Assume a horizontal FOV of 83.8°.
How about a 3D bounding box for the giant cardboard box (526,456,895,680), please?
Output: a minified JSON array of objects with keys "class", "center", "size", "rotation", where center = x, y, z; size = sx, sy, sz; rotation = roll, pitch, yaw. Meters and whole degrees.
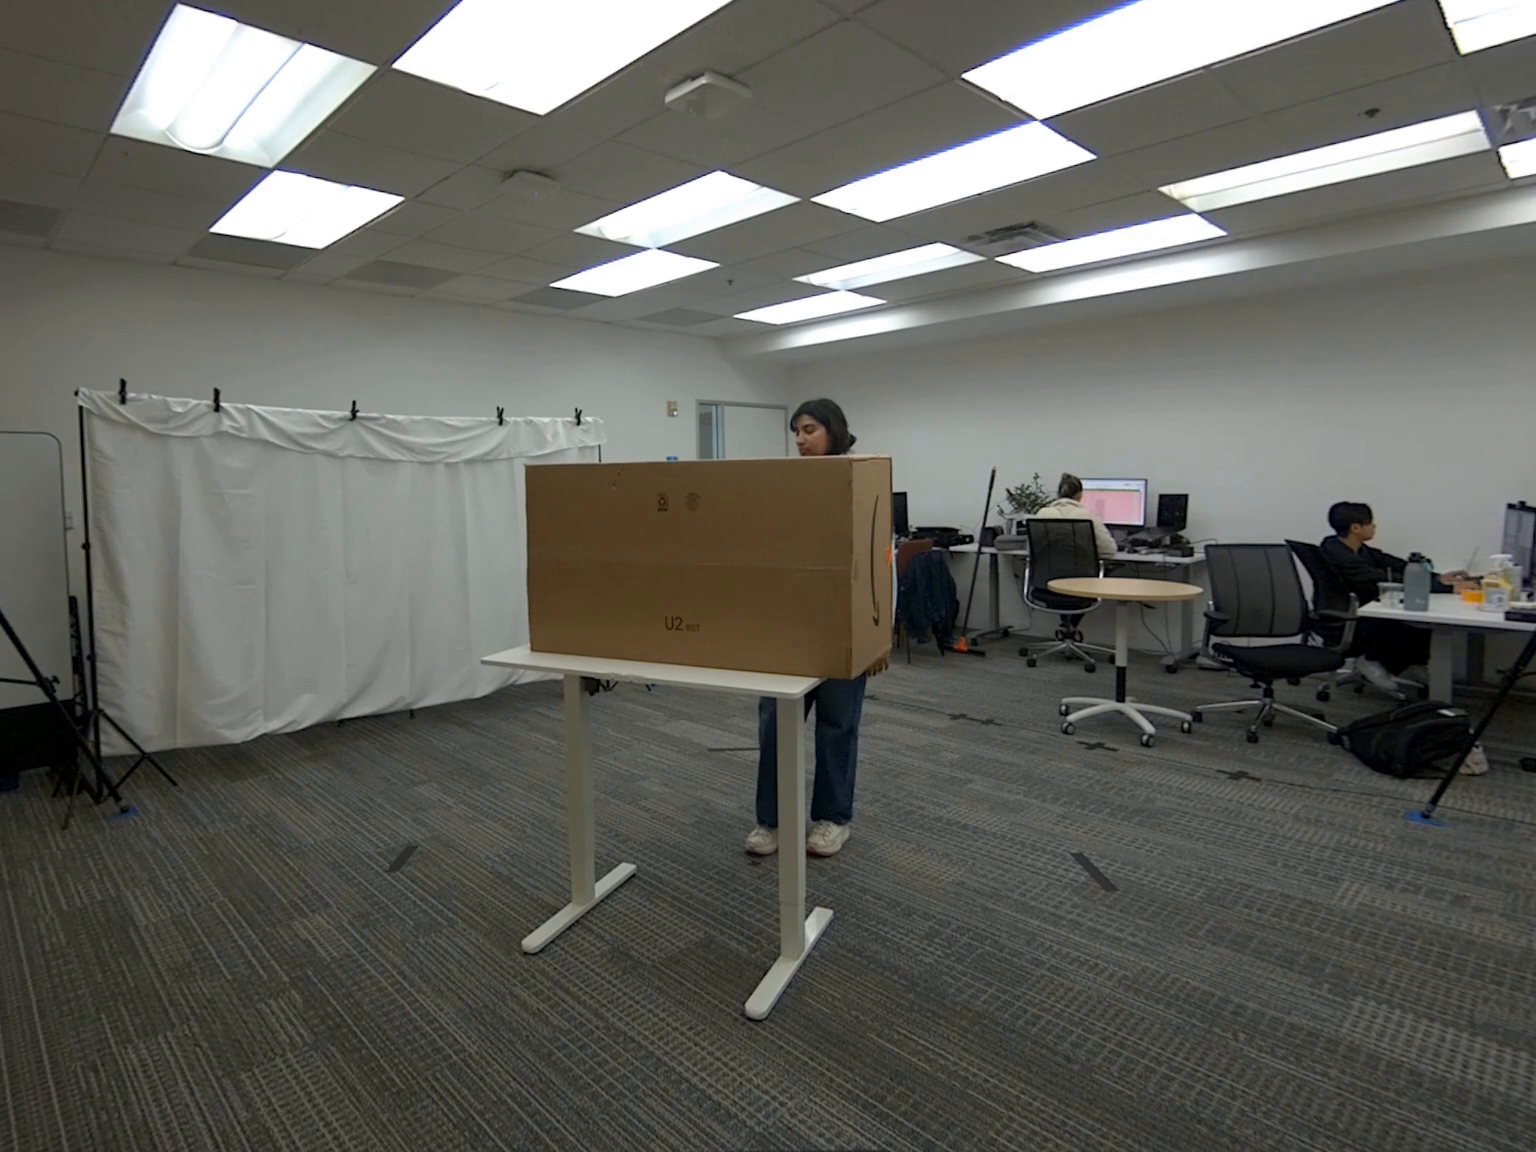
[{"class":"giant cardboard box","center":[-0.192,-0.057,2.565],"size":[1.050,0.575,0.418],"rotation":[2,6,26]}]
